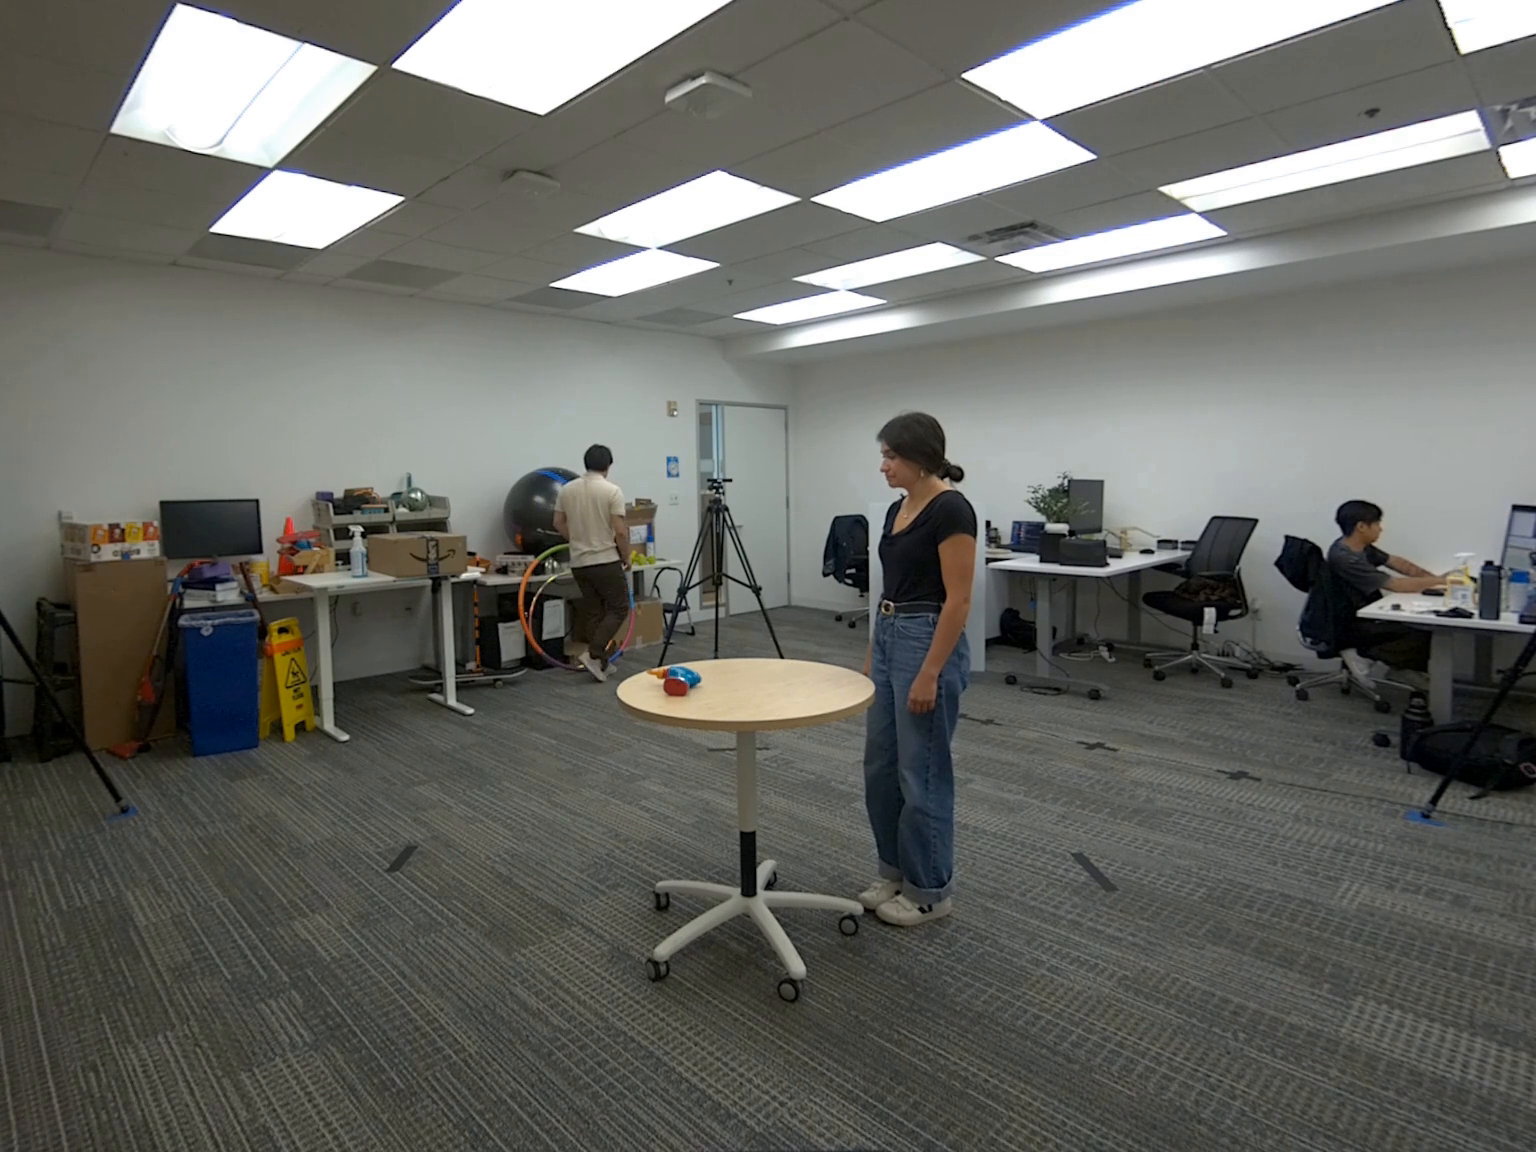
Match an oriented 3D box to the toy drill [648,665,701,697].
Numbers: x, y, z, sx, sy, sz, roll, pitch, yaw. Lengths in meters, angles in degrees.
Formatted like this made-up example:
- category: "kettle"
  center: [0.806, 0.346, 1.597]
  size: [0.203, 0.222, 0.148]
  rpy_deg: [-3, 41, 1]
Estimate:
- category: "toy drill"
  center: [-0.277, 0.306, 2.507]
  size: [0.172, 0.061, 0.145]
  rpy_deg: [8, 8, 9]
